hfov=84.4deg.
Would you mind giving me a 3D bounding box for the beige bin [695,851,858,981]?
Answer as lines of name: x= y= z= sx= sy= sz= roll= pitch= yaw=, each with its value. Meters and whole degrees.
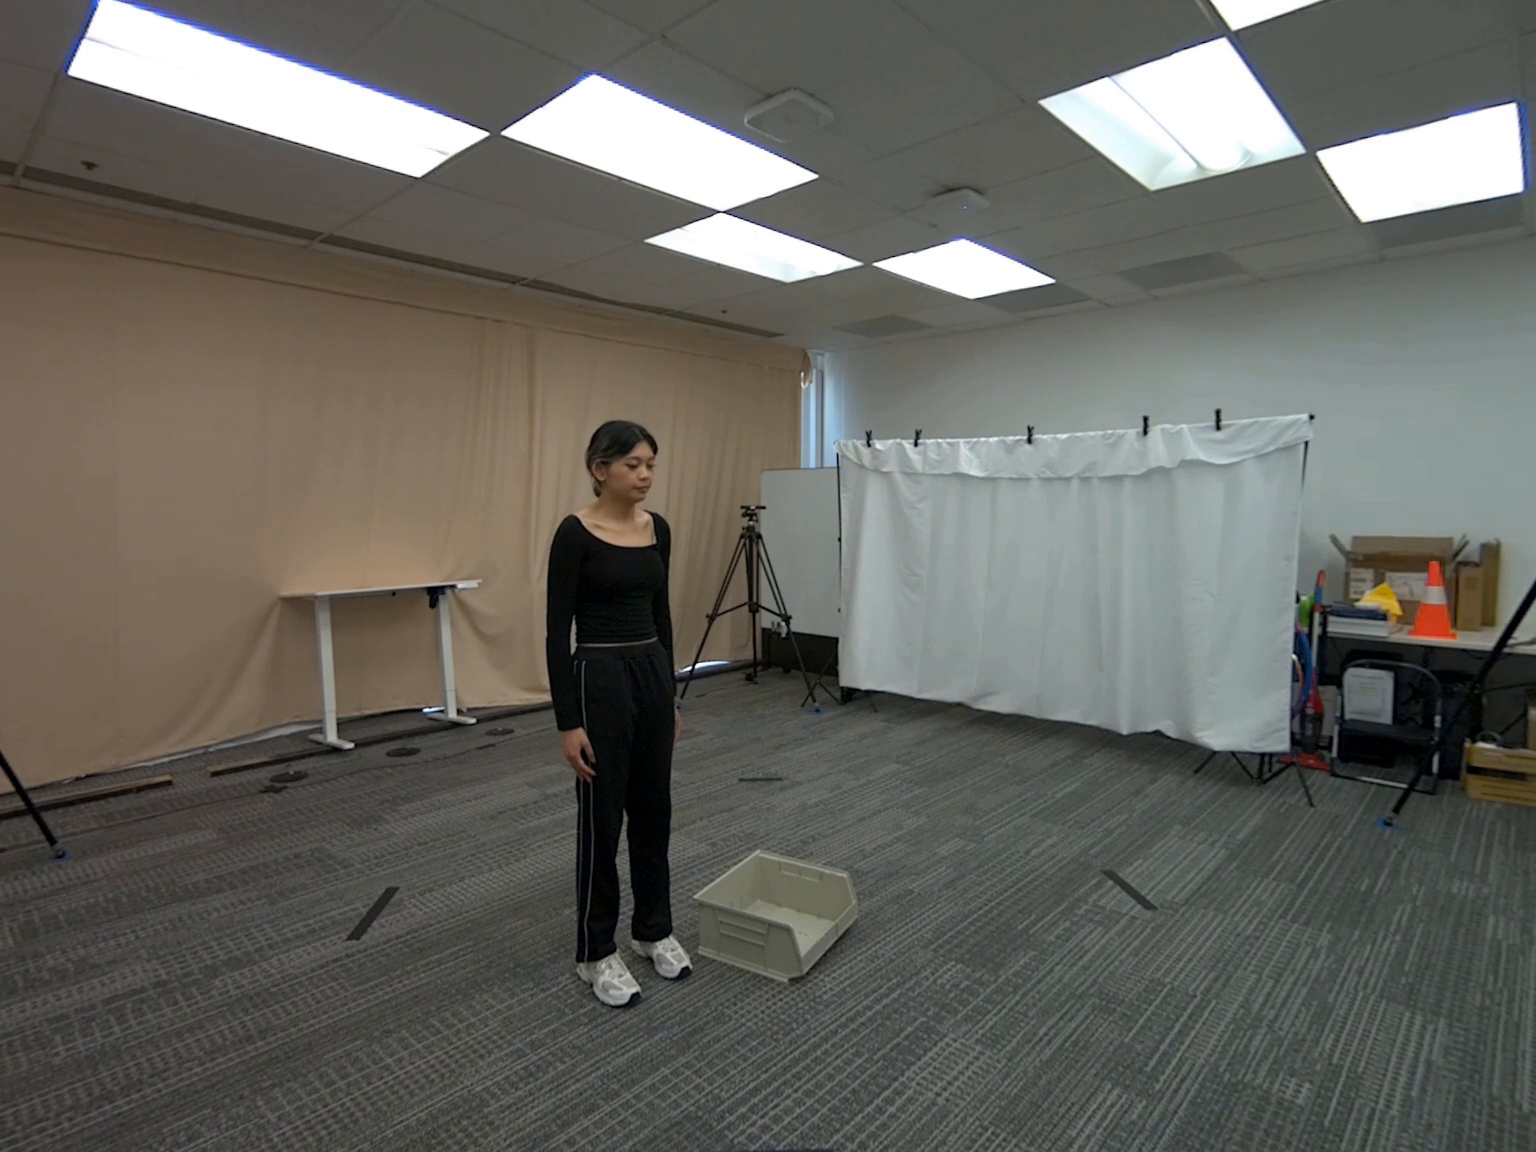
beige bin: x=0.035 y=1.082 z=2.696 sx=0.388 sy=0.188 sz=0.411 roll=2 pitch=5 yaw=30
